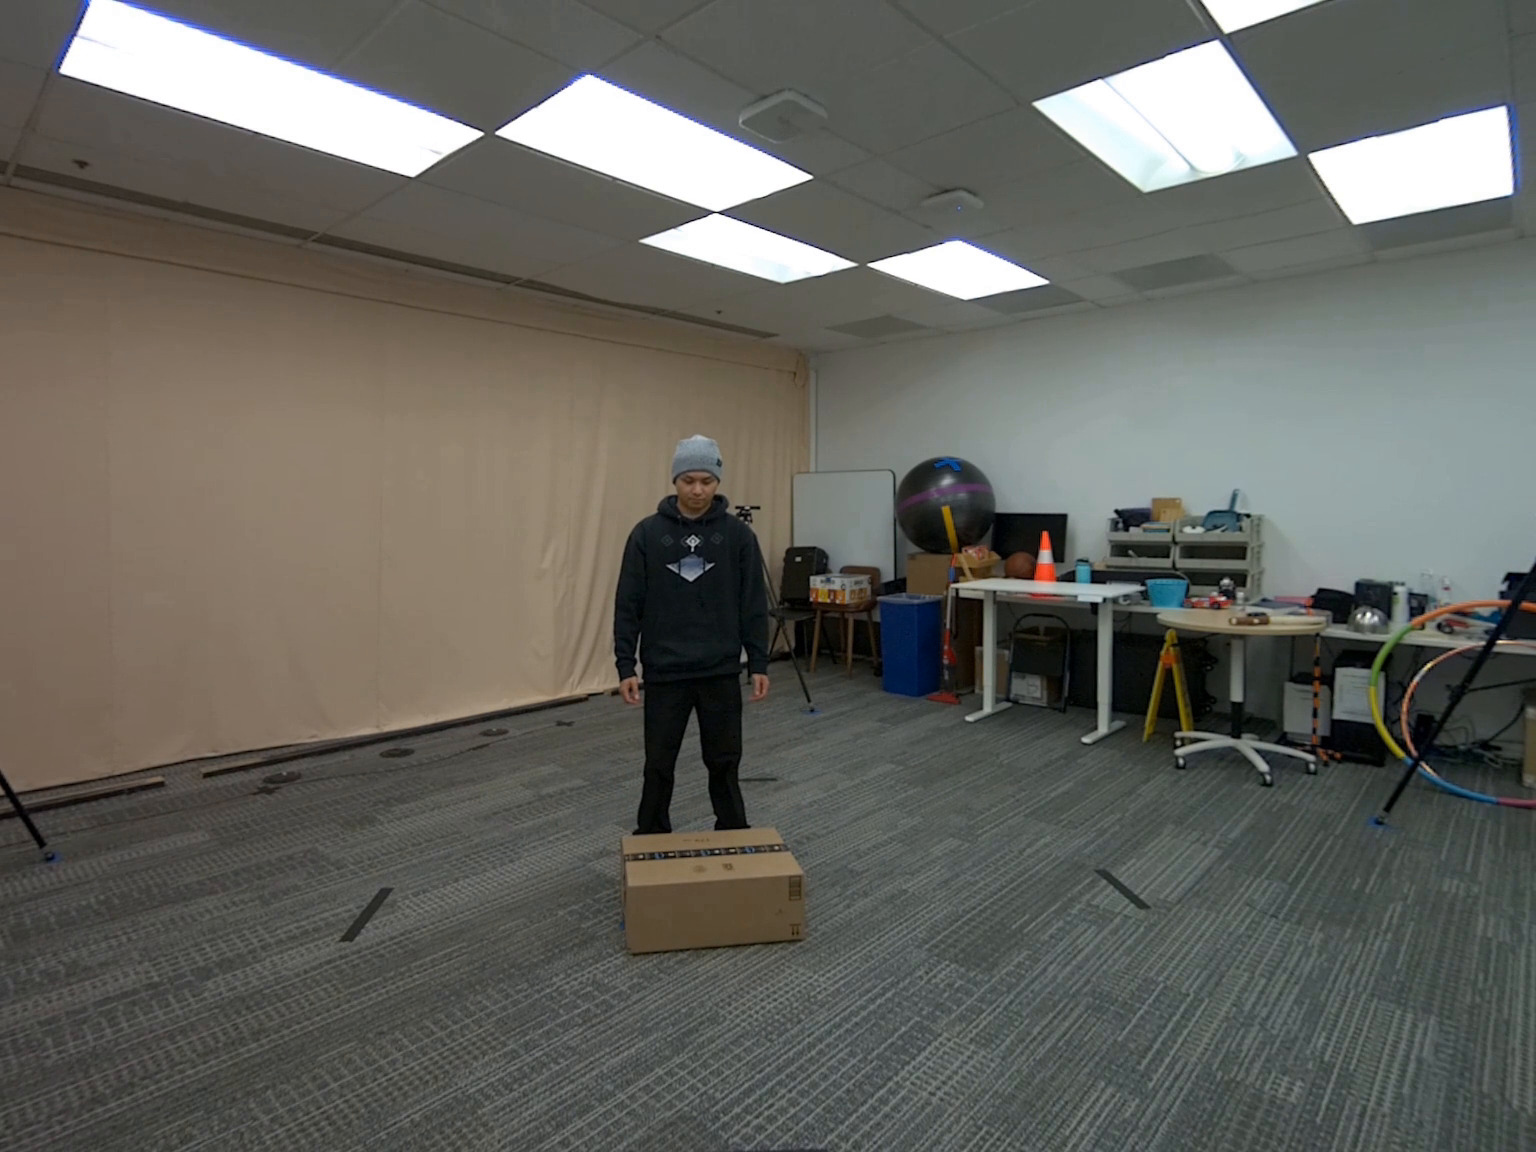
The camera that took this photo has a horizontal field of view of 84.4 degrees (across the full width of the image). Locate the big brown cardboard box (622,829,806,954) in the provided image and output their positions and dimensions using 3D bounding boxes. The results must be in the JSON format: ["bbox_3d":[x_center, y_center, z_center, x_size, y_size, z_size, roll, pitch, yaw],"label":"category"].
[{"bbox_3d":[-0.203,1.042,2.845,0.583,0.233,0.422,-2,3,-9],"label":"big brown cardboard box"}]
